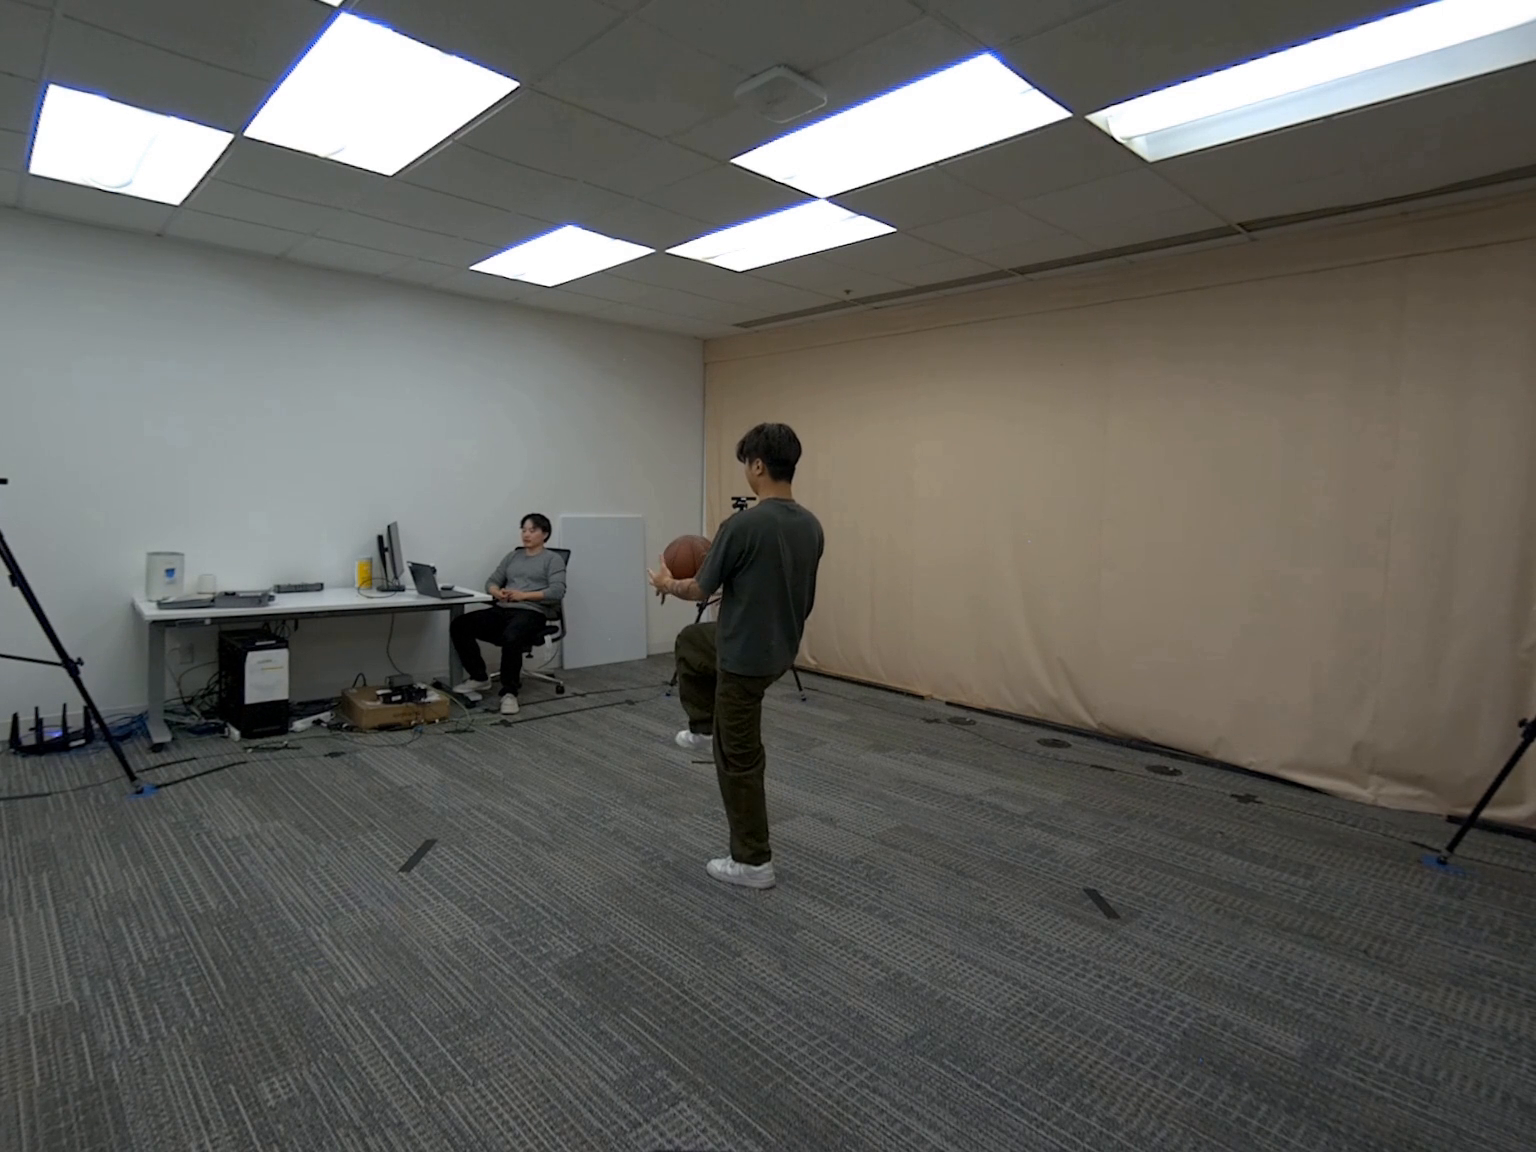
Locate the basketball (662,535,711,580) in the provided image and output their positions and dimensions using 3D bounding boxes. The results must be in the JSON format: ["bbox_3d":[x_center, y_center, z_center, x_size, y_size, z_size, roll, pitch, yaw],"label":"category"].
[{"bbox_3d":[-0.315,-0.038,3.336,0.236,0.235,0.237,1,4,-1],"label":"basketball"}]
